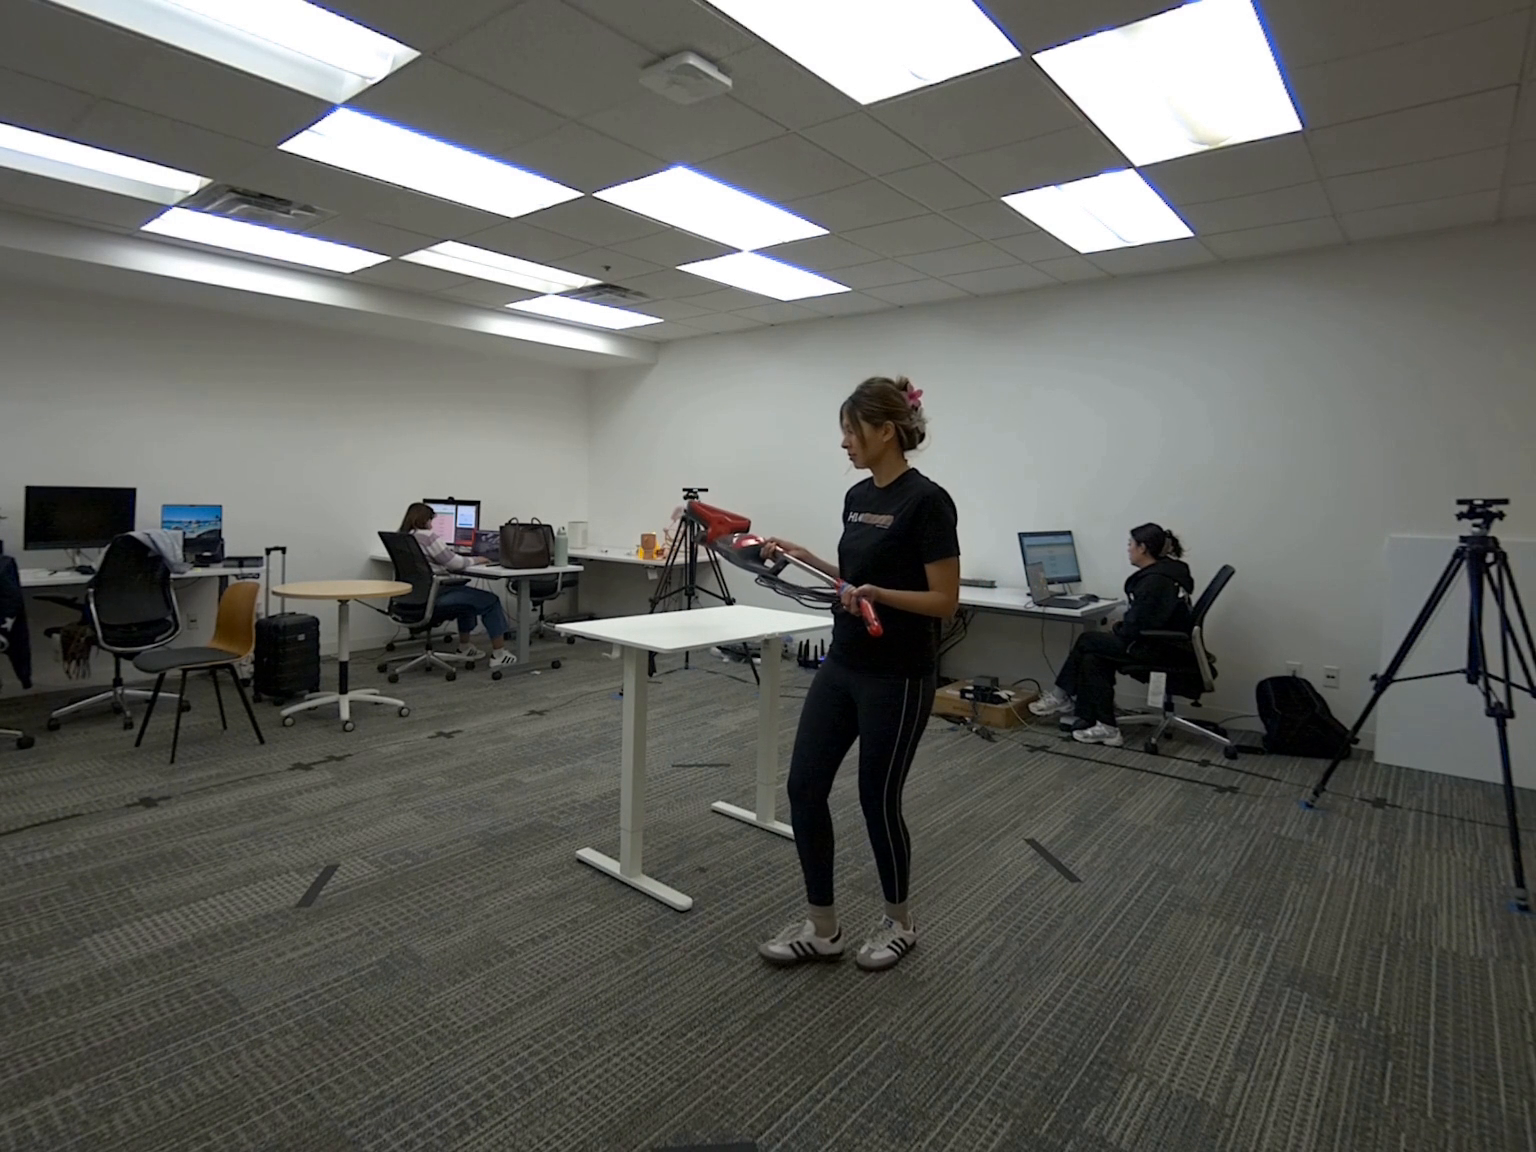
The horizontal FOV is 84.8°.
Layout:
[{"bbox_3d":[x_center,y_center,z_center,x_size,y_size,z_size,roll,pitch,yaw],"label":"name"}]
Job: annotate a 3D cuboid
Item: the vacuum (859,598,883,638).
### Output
[{"bbox_3d":[0.030,-0.016,2.521,0.244,0.143,1.088,16,9,-30],"label":"vacuum"}]
